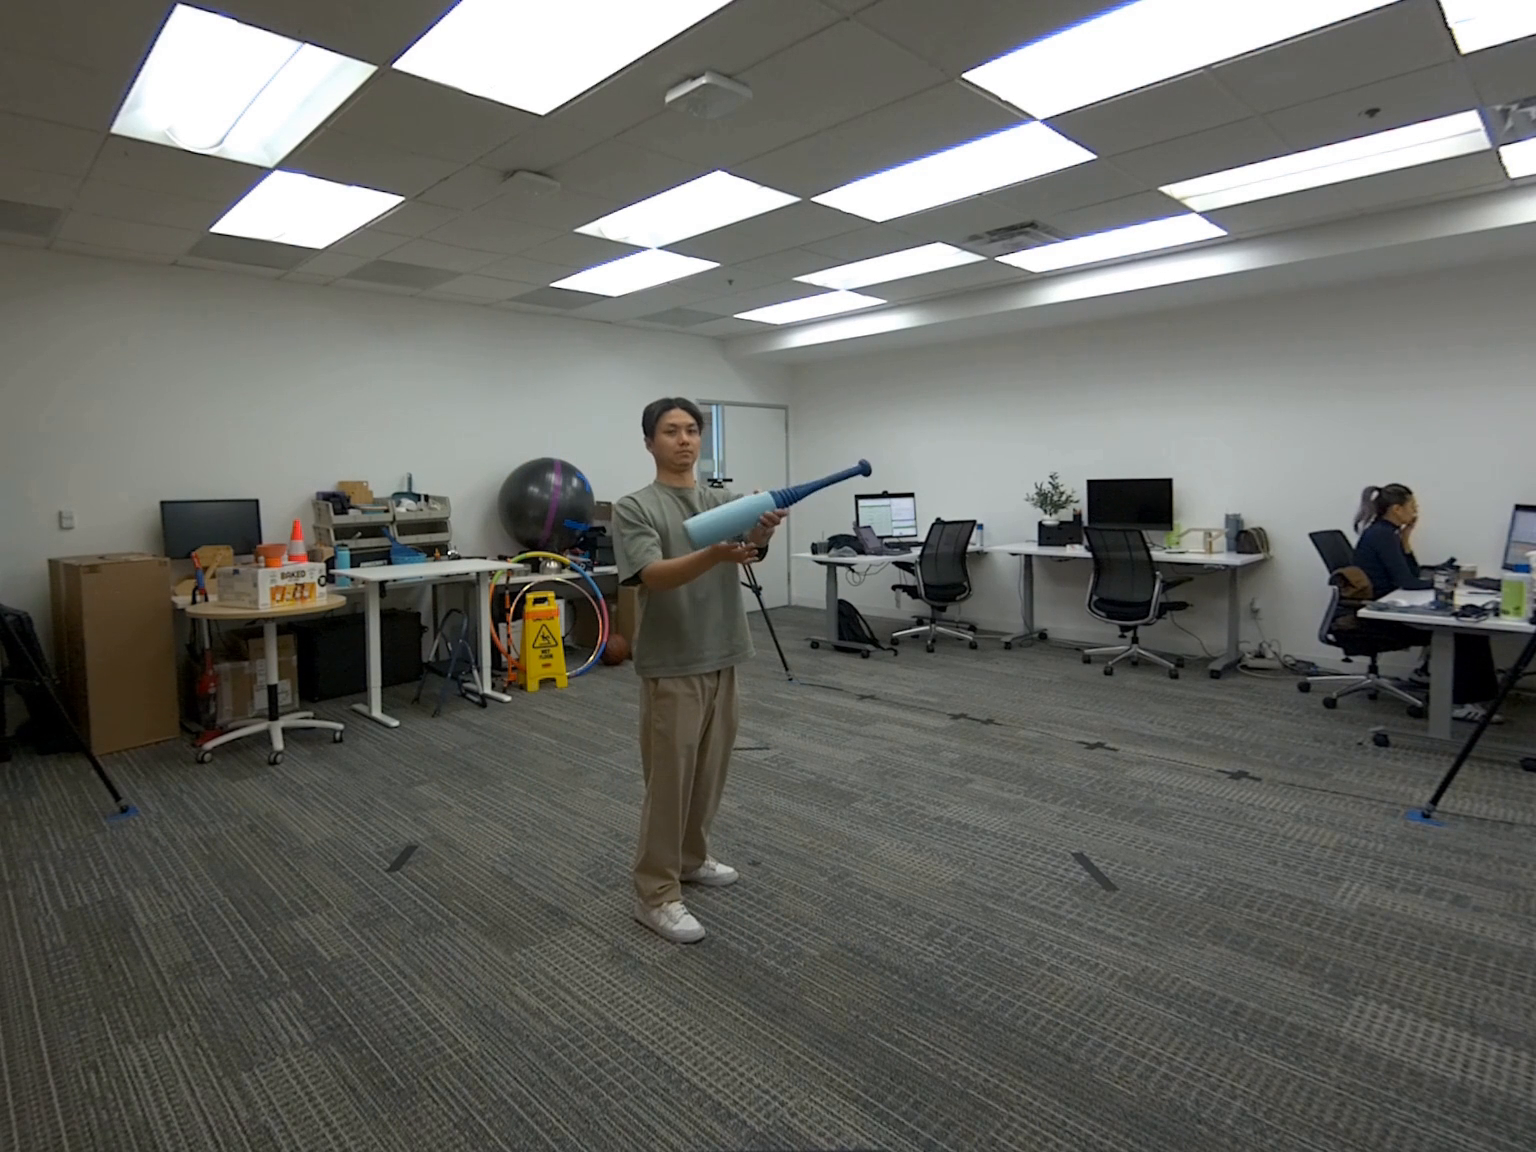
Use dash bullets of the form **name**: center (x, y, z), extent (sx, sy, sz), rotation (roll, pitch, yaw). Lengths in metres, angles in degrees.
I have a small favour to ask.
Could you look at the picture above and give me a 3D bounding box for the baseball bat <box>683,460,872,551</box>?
- **baseball bat**: center (0.029, -0.200, 2.276), extent (0.540, 0.088, 0.090), rotation (-23, 9, -10)
